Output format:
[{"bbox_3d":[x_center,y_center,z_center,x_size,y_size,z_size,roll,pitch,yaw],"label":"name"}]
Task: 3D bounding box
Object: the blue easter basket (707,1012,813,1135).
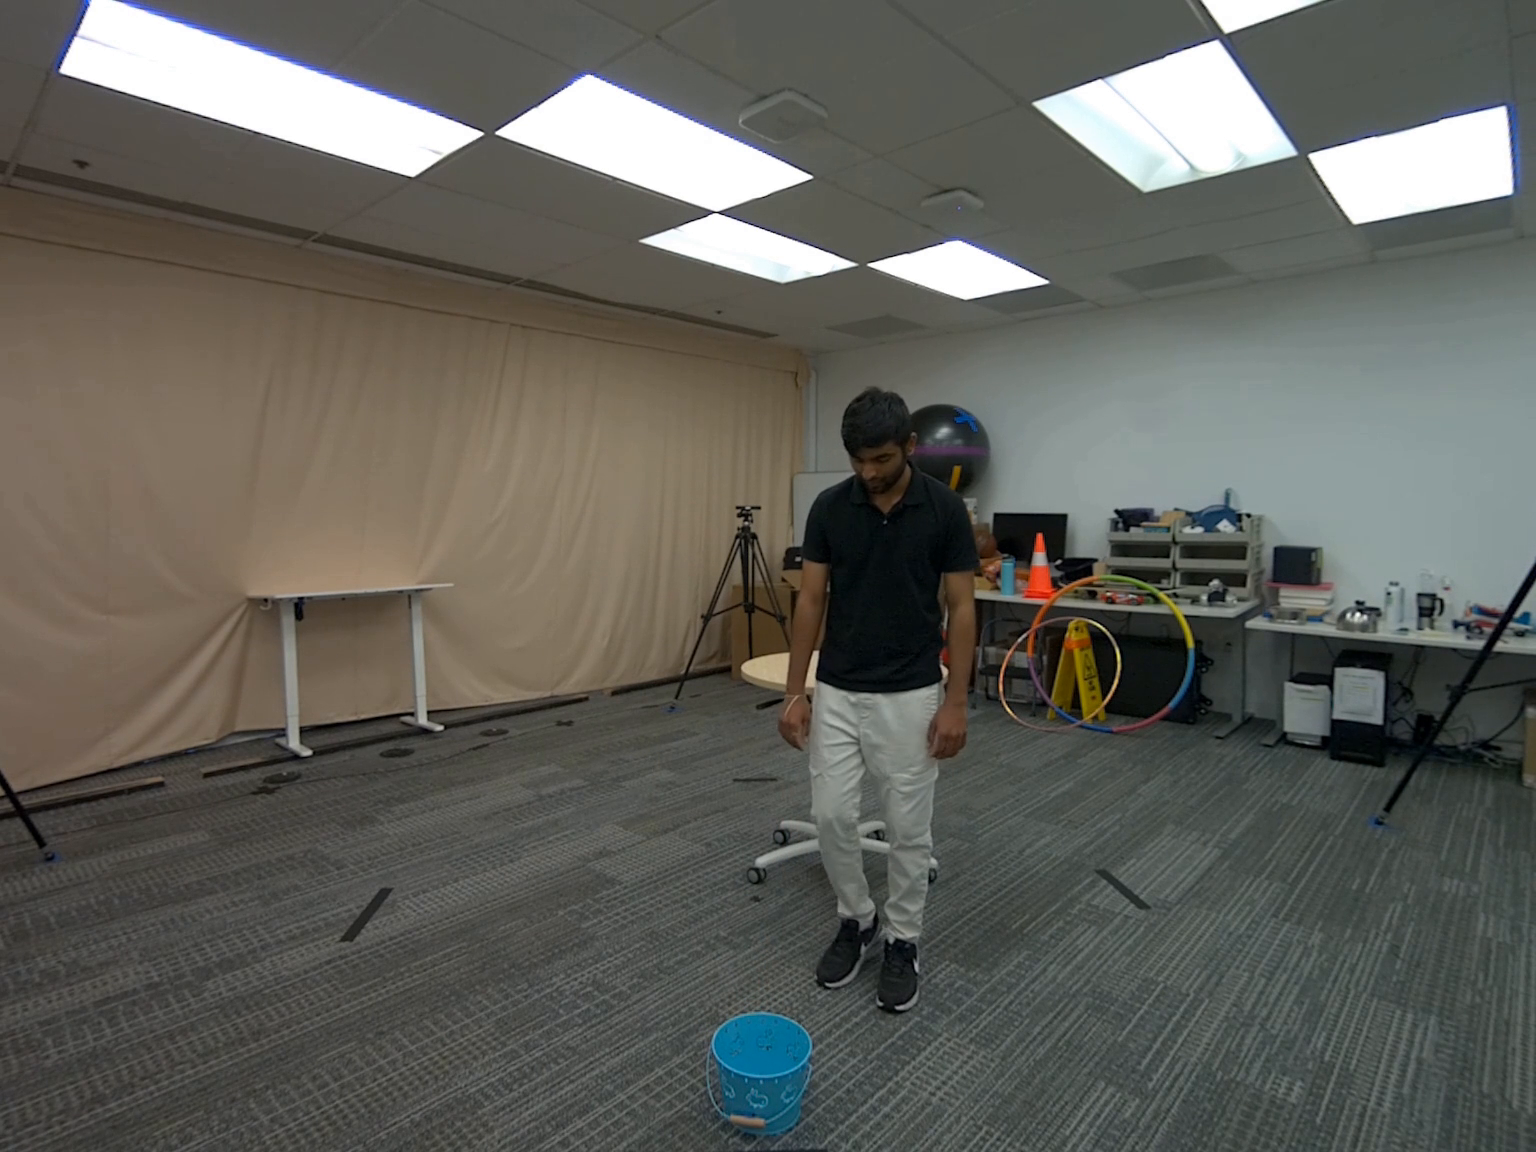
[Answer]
[{"bbox_3d":[-0.014,1.154,1.945,0.243,0.155,0.244,0,4,-2],"label":"blue easter basket"}]
